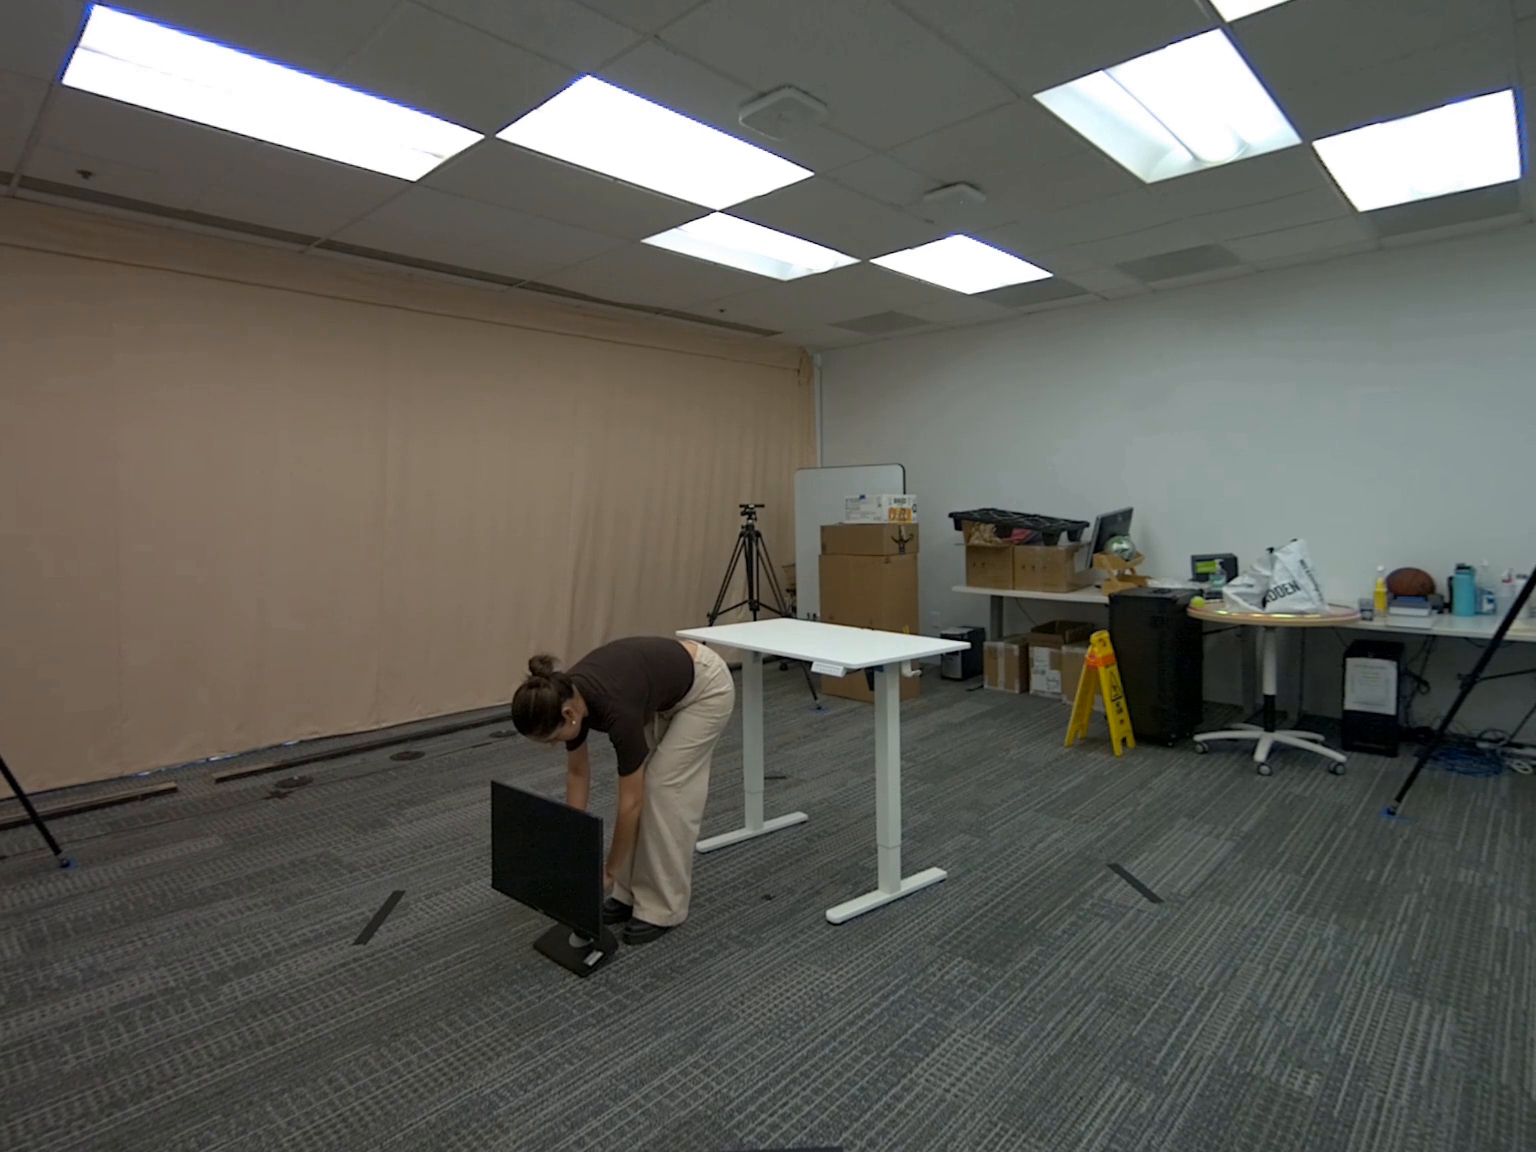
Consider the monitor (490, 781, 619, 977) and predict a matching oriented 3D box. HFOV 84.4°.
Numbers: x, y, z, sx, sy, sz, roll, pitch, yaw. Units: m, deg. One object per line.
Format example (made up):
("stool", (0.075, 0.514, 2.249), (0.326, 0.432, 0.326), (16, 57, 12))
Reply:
("monitor", (-0.636, 0.919, 2.592), (0.556, 0.517, 0.183), (2, 16, 39))
